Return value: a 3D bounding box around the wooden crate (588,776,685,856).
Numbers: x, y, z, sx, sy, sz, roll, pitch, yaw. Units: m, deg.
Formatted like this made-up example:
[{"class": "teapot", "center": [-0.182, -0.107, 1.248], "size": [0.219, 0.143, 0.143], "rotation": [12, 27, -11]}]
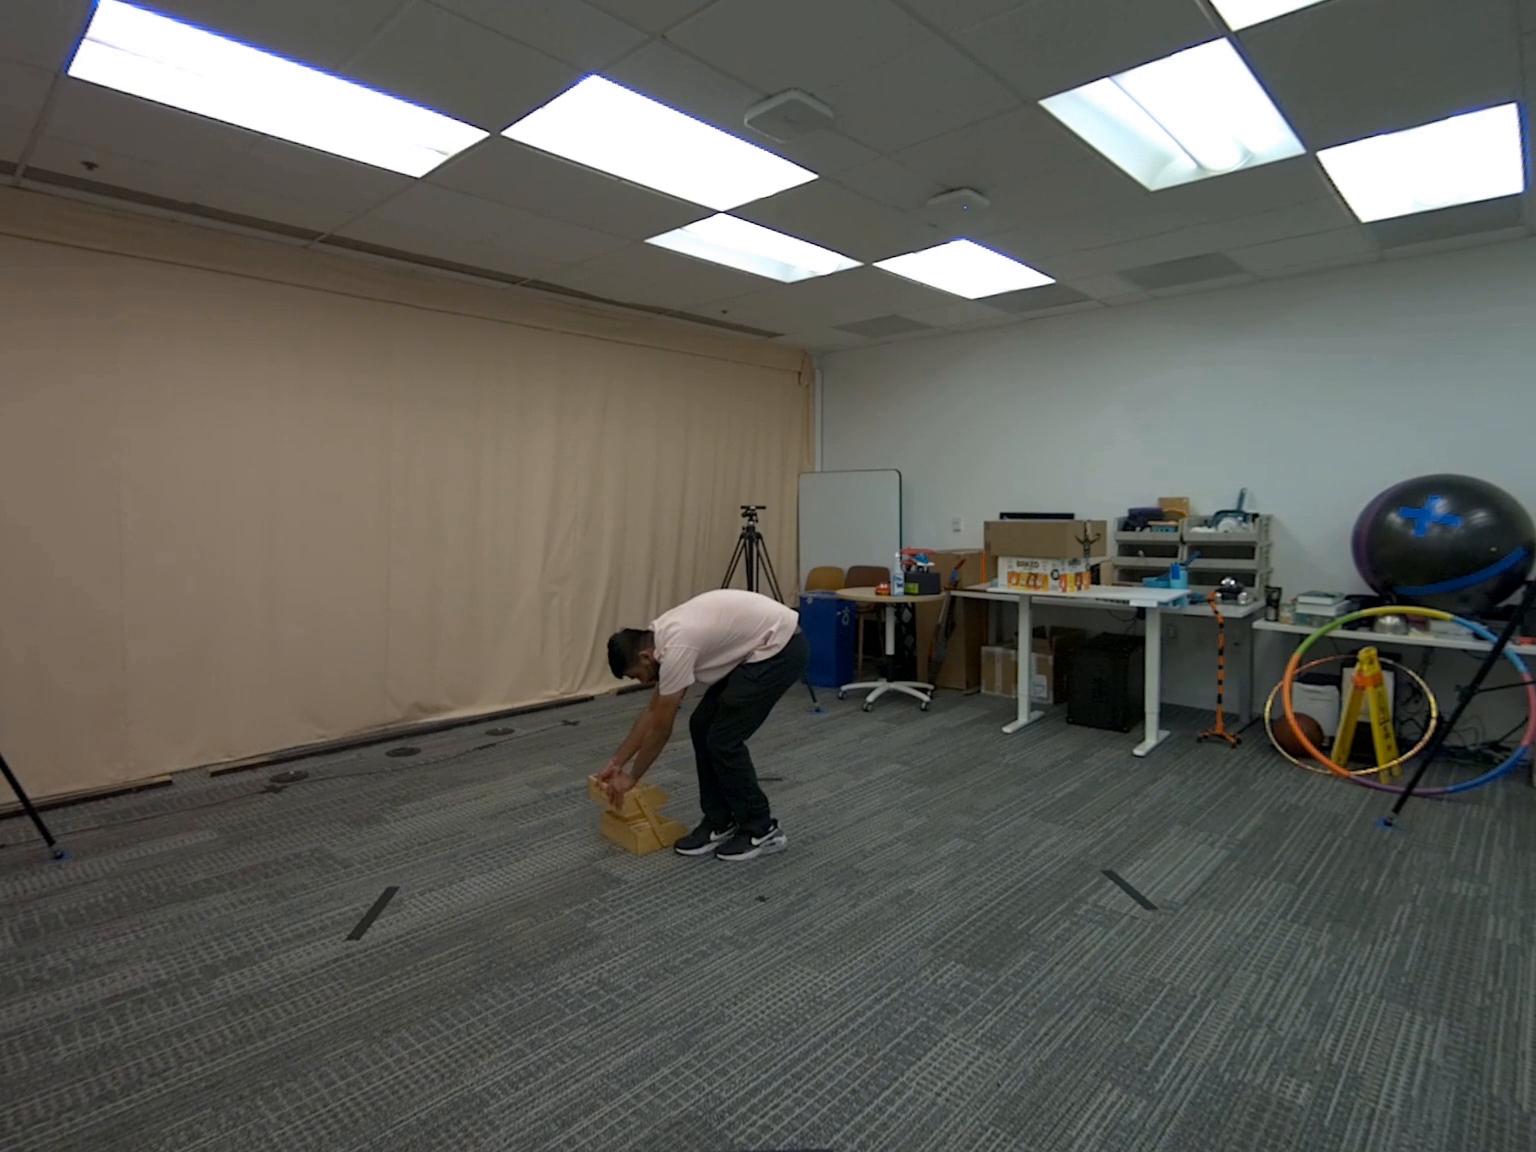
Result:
[{"class": "wooden crate", "center": [-0.547, 0.968, 3.531], "size": [0.293, 0.272, 0.335], "rotation": [-5, 6, -40]}]
